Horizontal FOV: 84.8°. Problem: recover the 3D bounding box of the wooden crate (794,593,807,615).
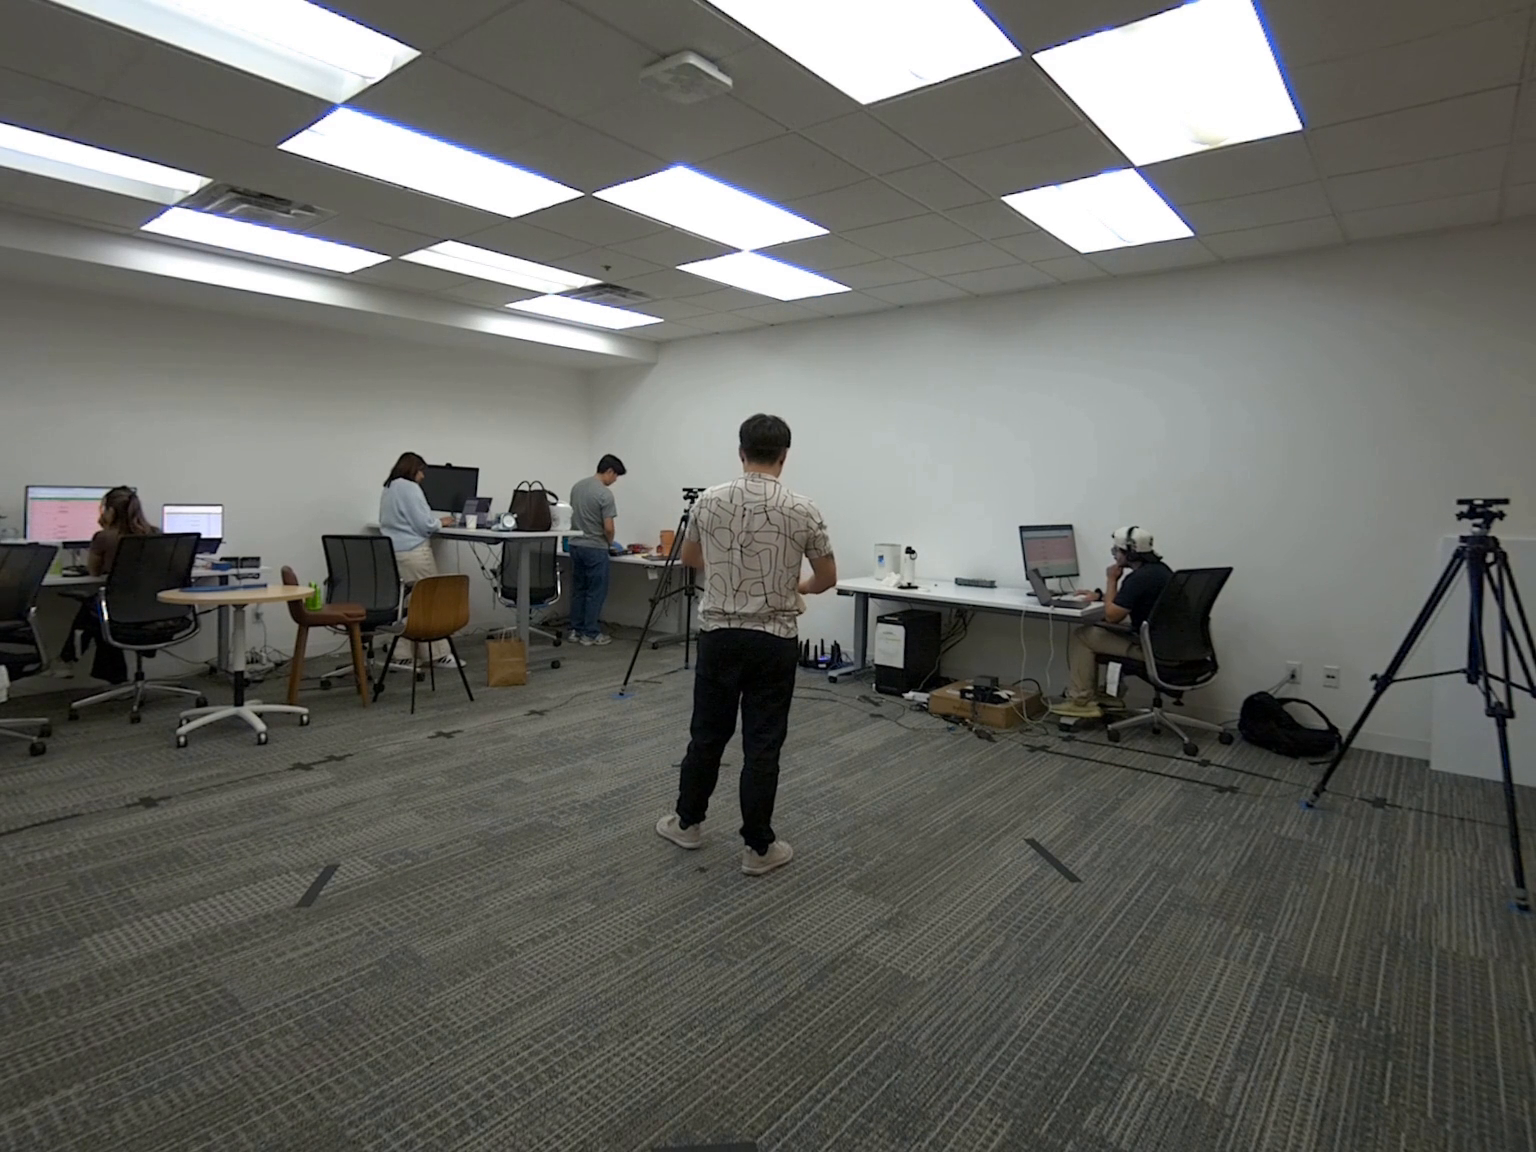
[{"bbox_3d":[-0.056,0.031,3.552,0.329,0.291,0.280,-25,34,26],"label":"wooden crate"}]
